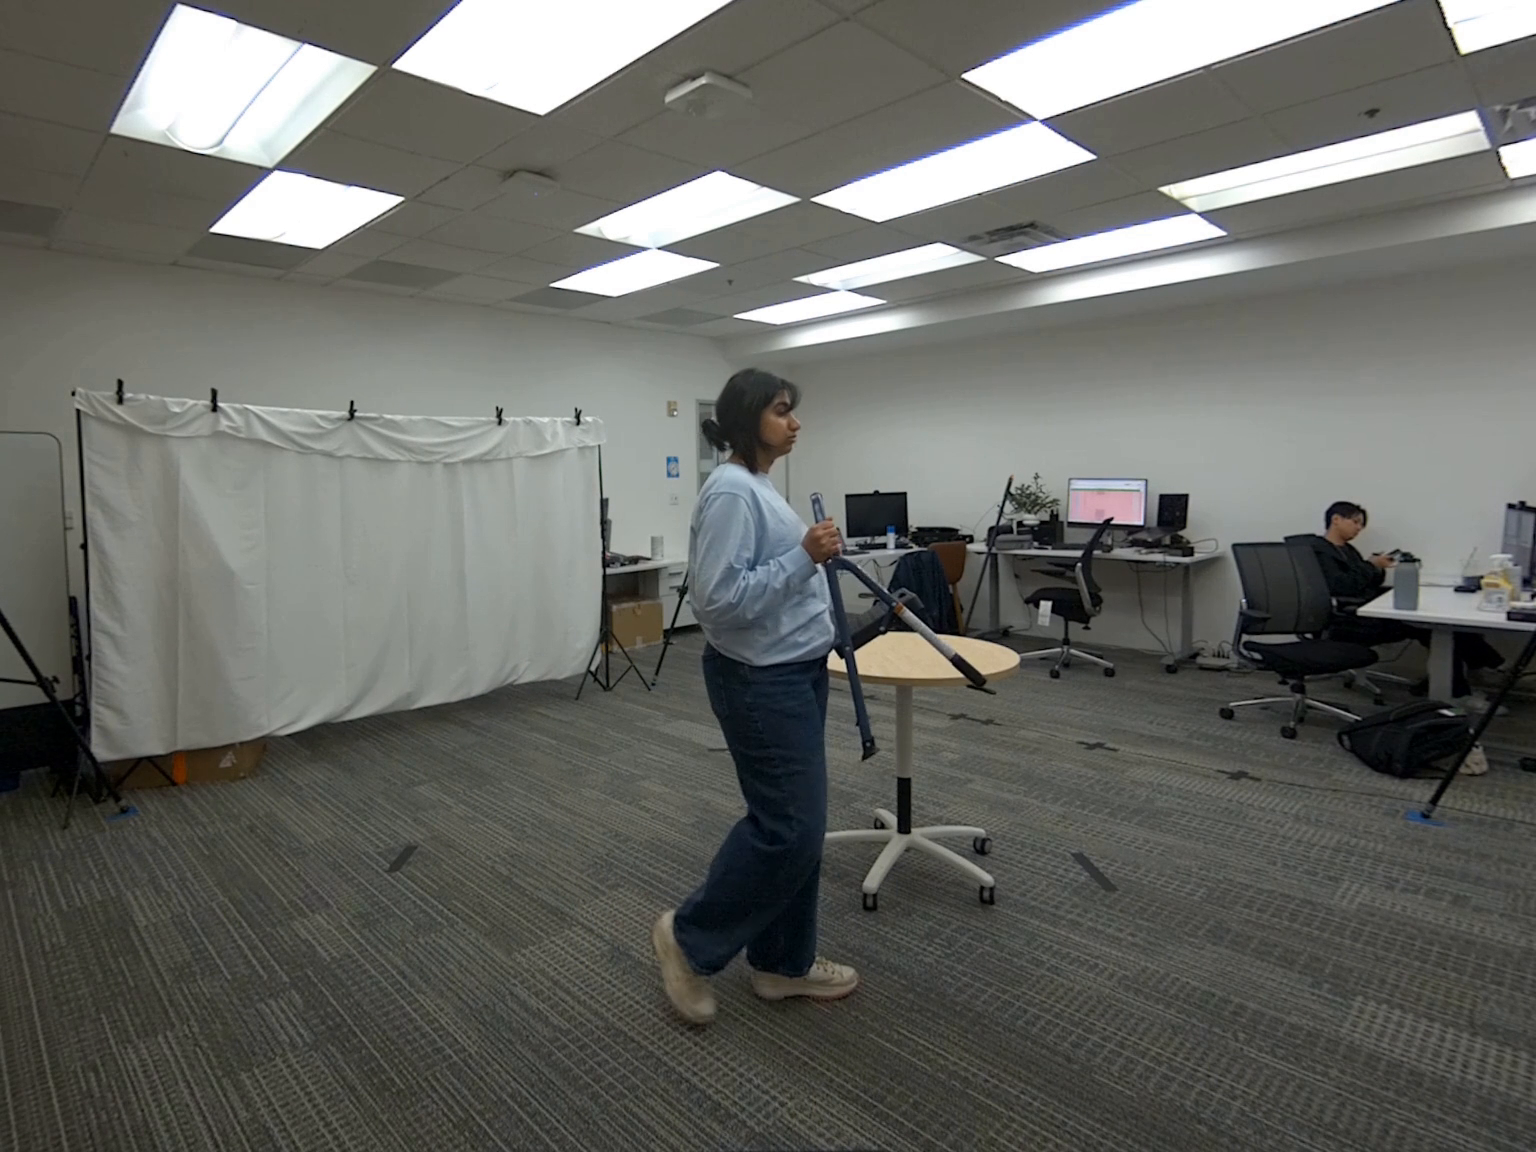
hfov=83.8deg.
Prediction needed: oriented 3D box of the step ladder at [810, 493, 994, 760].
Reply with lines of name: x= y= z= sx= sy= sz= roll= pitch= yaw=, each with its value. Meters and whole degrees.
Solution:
step ladder: x=0.223 y=0.085 z=2.245 sx=0.350 sy=0.609 sz=0.428 roll=-32 pitch=-2 yaw=4
